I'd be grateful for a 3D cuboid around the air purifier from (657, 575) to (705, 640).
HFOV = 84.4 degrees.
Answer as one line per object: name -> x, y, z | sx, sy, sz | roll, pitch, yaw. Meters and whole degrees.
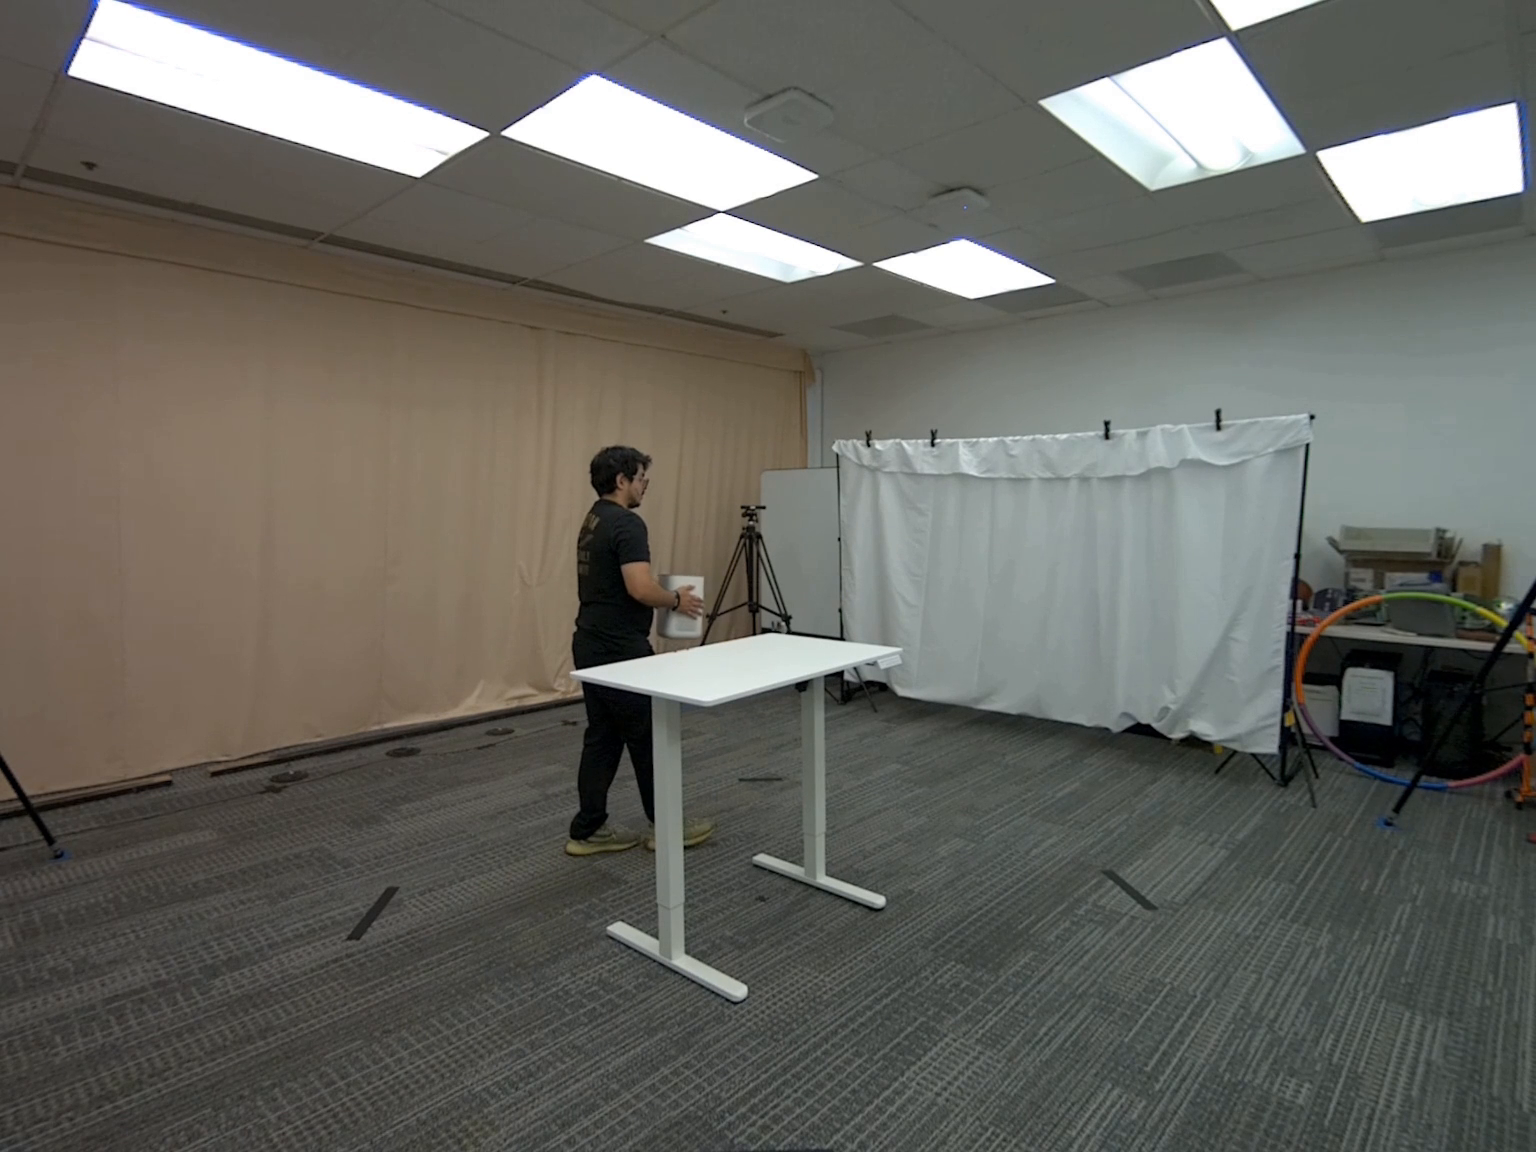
air purifier -> -0.364, 0.129, 3.510 | 0.167, 0.266, 0.175 | 4, -3, -28
